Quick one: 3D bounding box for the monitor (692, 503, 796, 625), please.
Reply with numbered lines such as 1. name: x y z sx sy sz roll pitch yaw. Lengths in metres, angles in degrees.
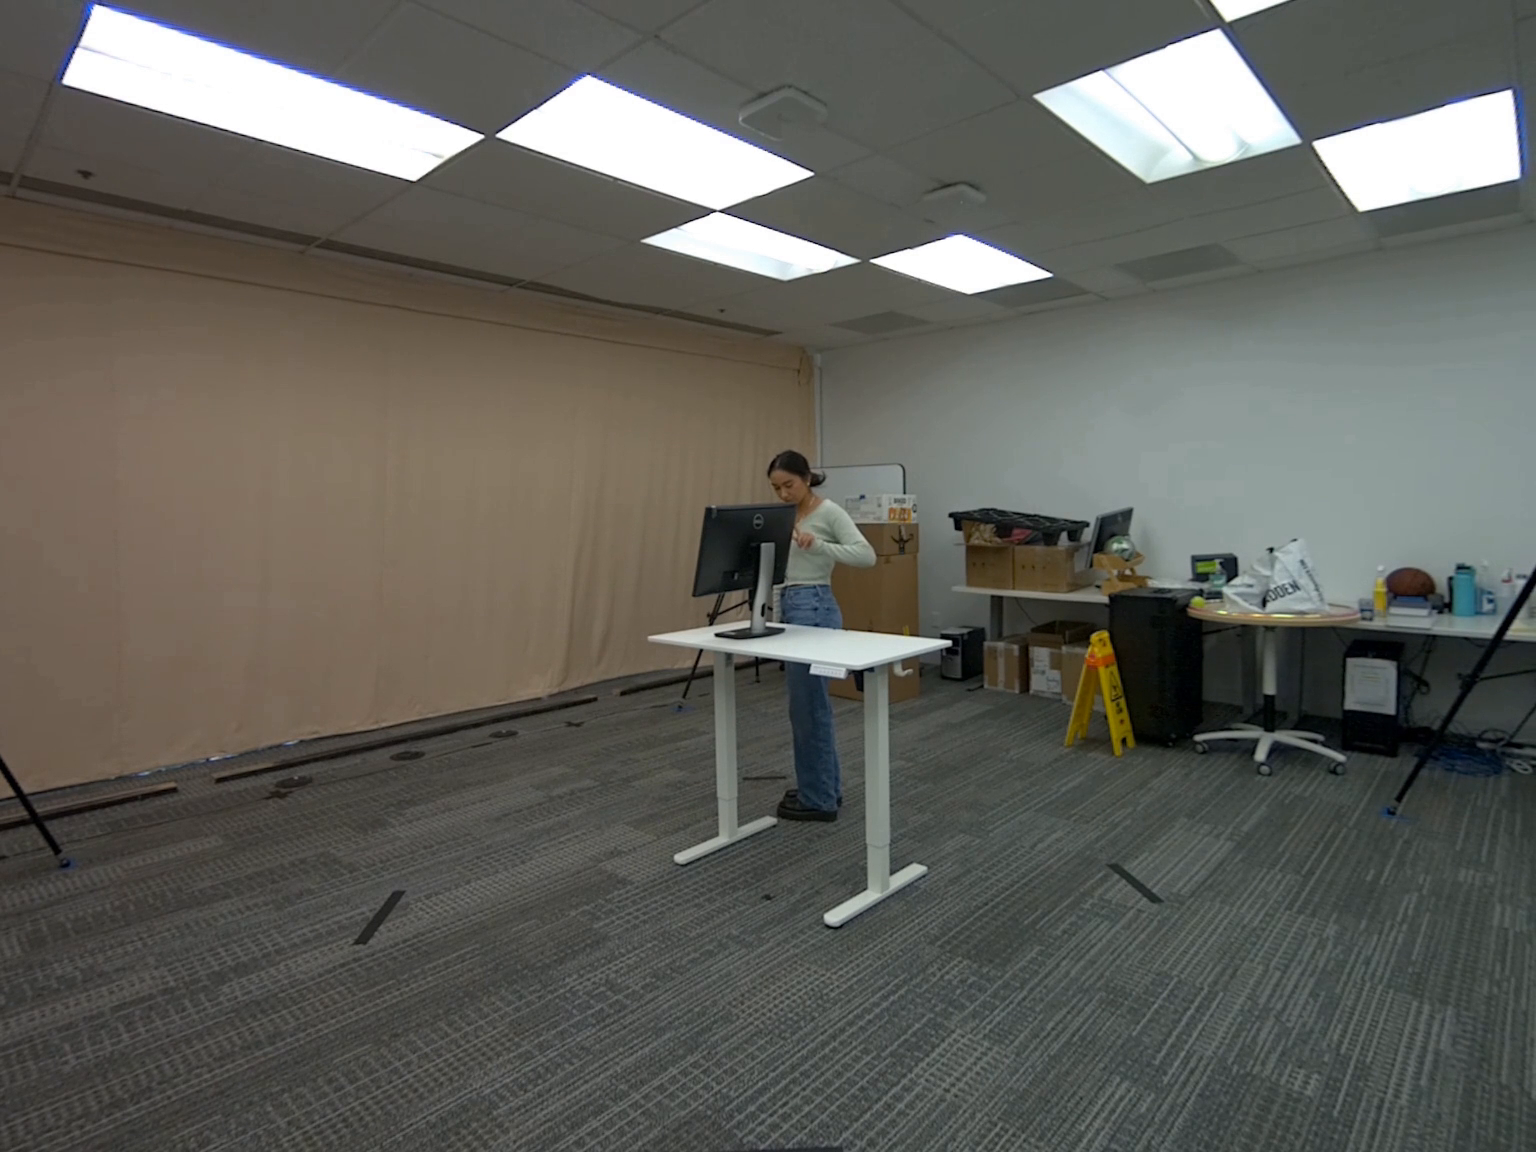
1. monitor: -0.050 -0.016 3.295 0.193 0.521 0.523 6 8 43
